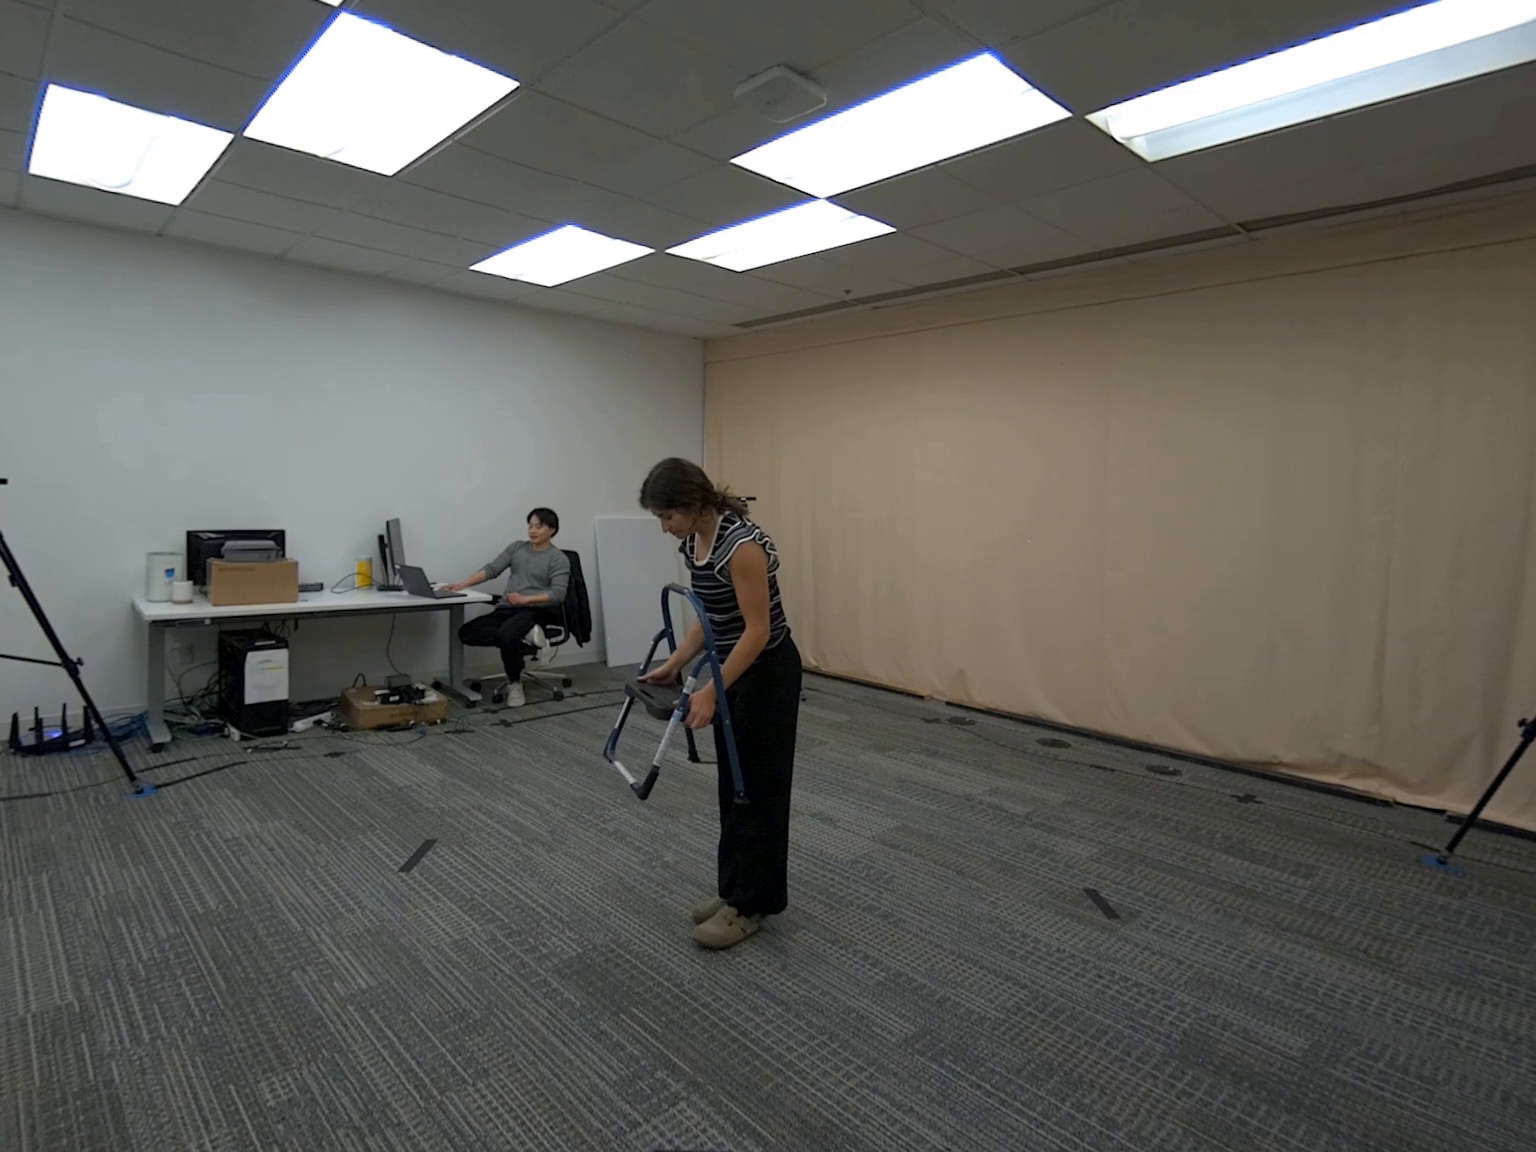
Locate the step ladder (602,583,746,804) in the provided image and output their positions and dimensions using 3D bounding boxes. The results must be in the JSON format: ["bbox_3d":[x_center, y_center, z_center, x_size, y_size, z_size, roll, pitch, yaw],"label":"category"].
[{"bbox_3d":[-0.257,0.342,2.646,0.342,0.606,0.440,9,0,-27],"label":"step ladder"}]
